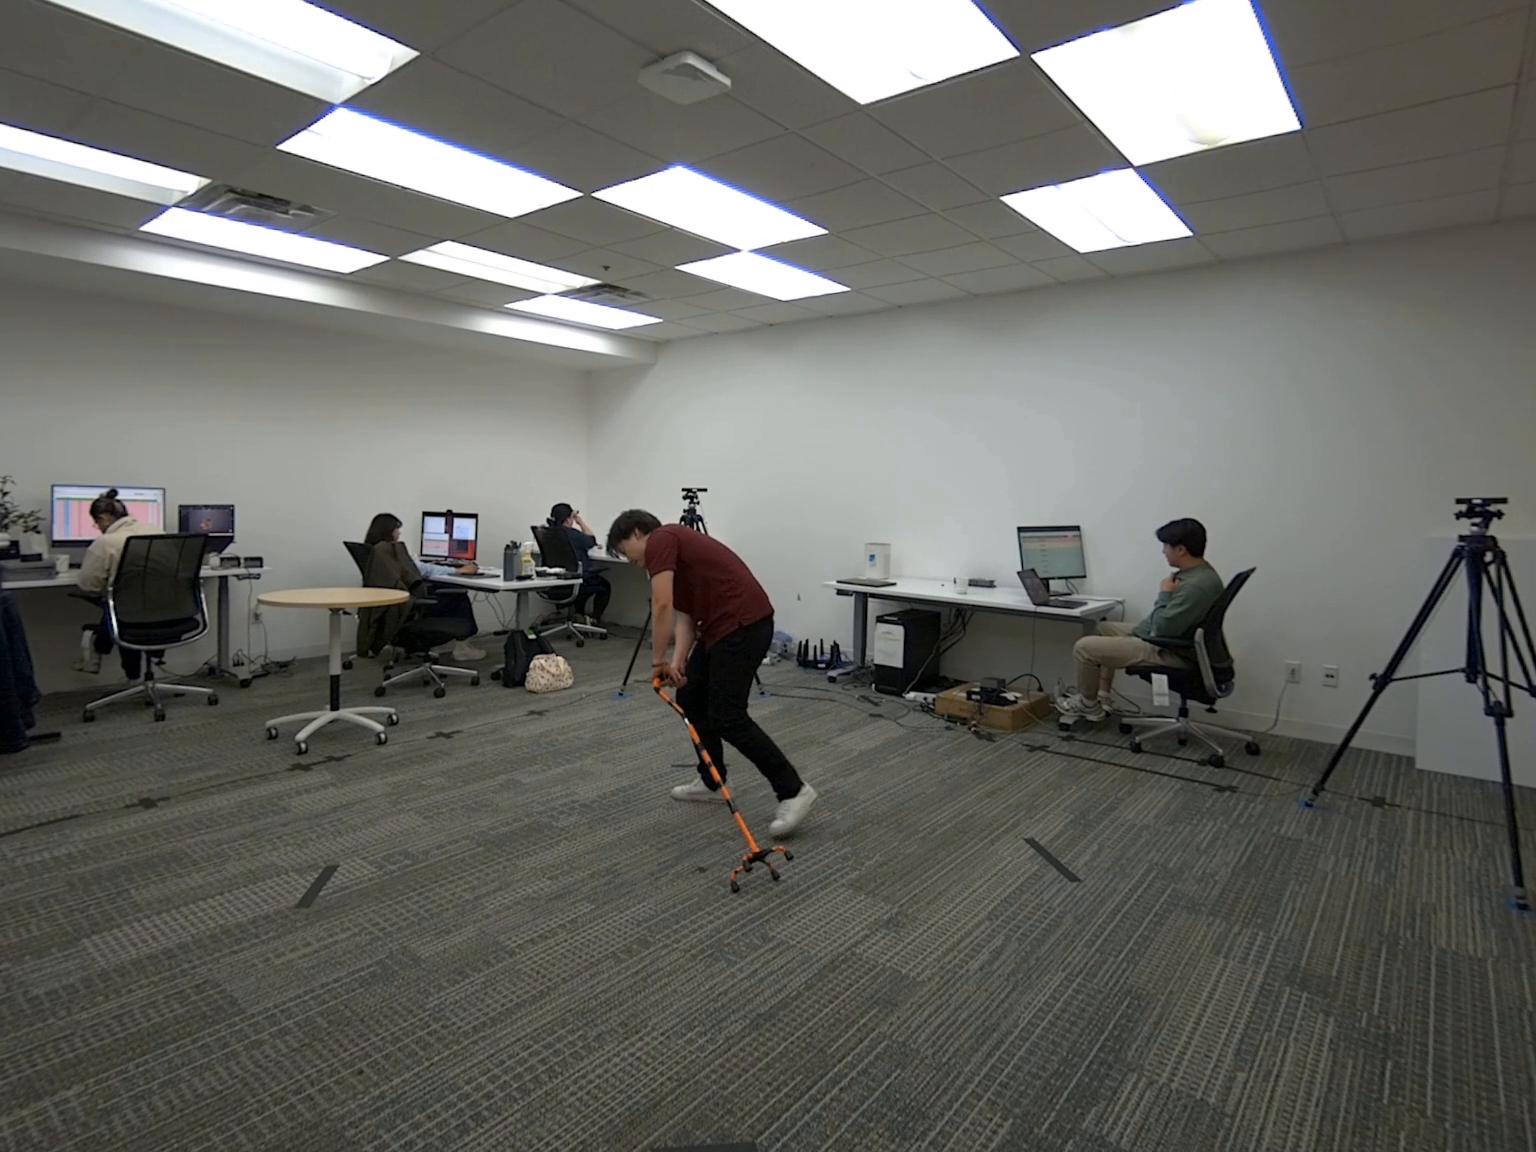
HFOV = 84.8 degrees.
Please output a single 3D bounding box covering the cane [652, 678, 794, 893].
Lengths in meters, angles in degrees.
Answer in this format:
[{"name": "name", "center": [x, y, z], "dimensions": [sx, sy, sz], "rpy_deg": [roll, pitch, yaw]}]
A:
[{"name": "cane", "center": [-0.234, 0.725, 3.230], "dimensions": [0.200, 0.150, 0.946], "rpy_deg": [0, 40, -36]}]
